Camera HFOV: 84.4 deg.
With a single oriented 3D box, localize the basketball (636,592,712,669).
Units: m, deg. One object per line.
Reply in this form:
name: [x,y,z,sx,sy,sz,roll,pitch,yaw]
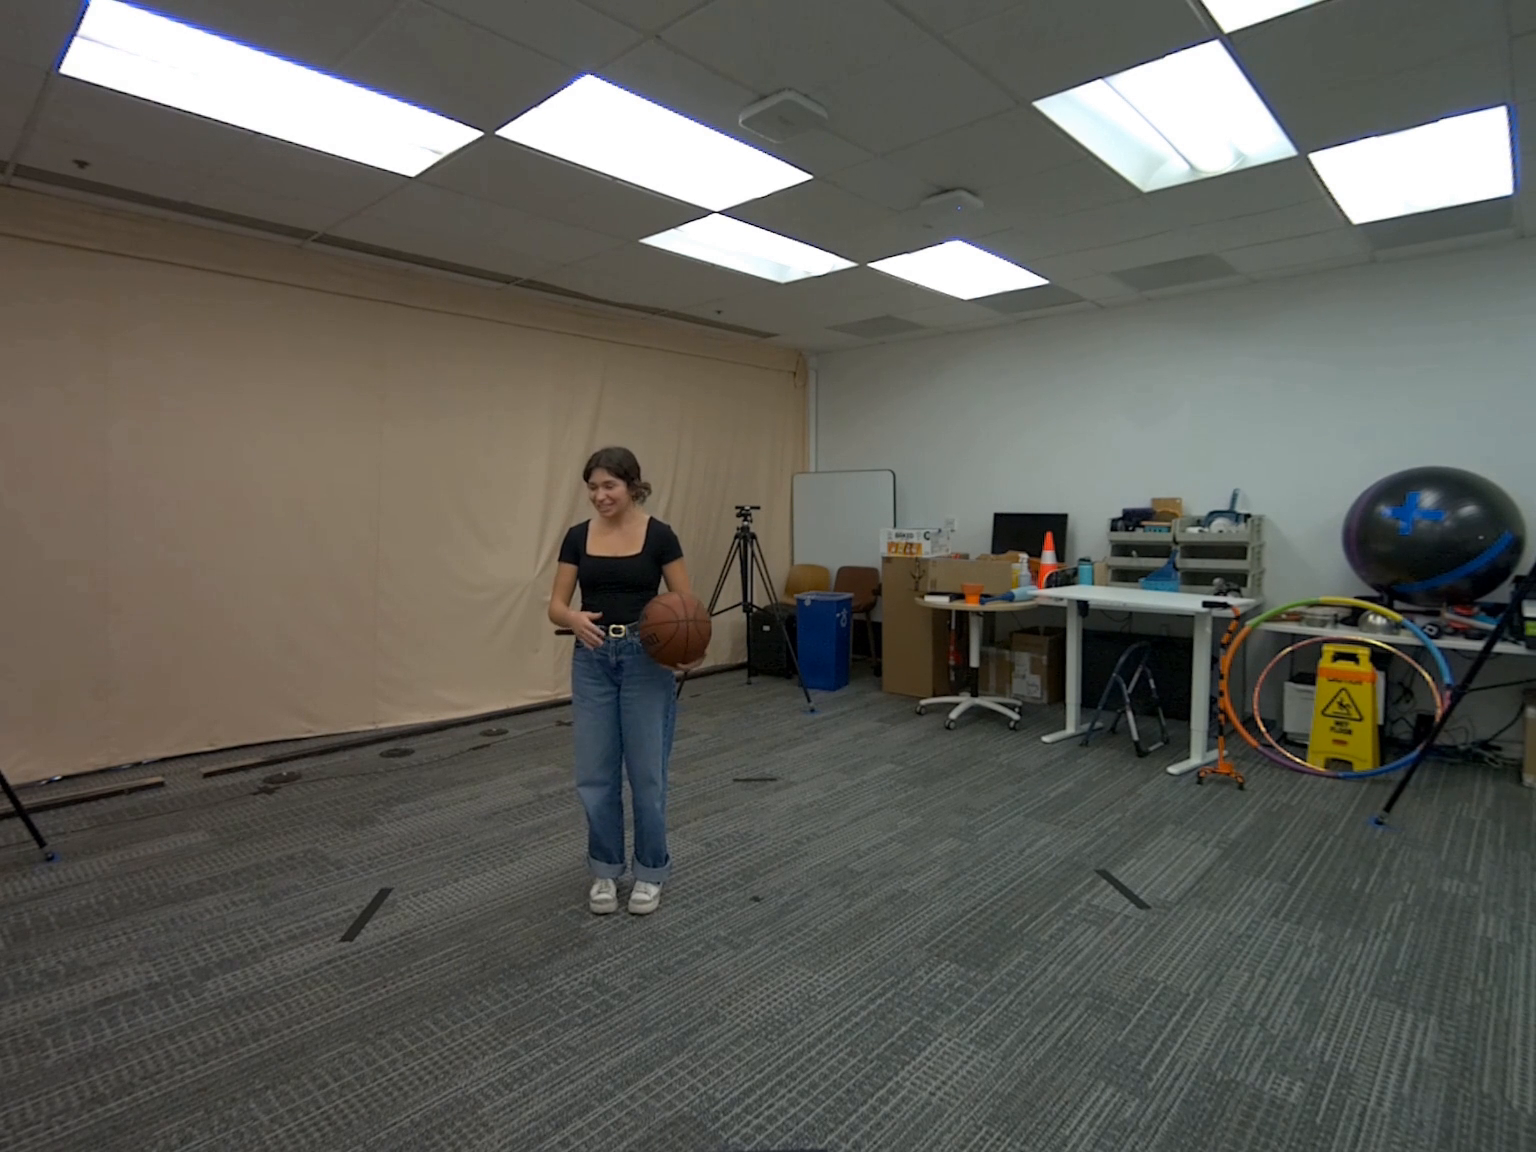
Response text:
basketball: [-0.302,0.168,2.708,0.236,0.235,0.237,0,4,-2]
